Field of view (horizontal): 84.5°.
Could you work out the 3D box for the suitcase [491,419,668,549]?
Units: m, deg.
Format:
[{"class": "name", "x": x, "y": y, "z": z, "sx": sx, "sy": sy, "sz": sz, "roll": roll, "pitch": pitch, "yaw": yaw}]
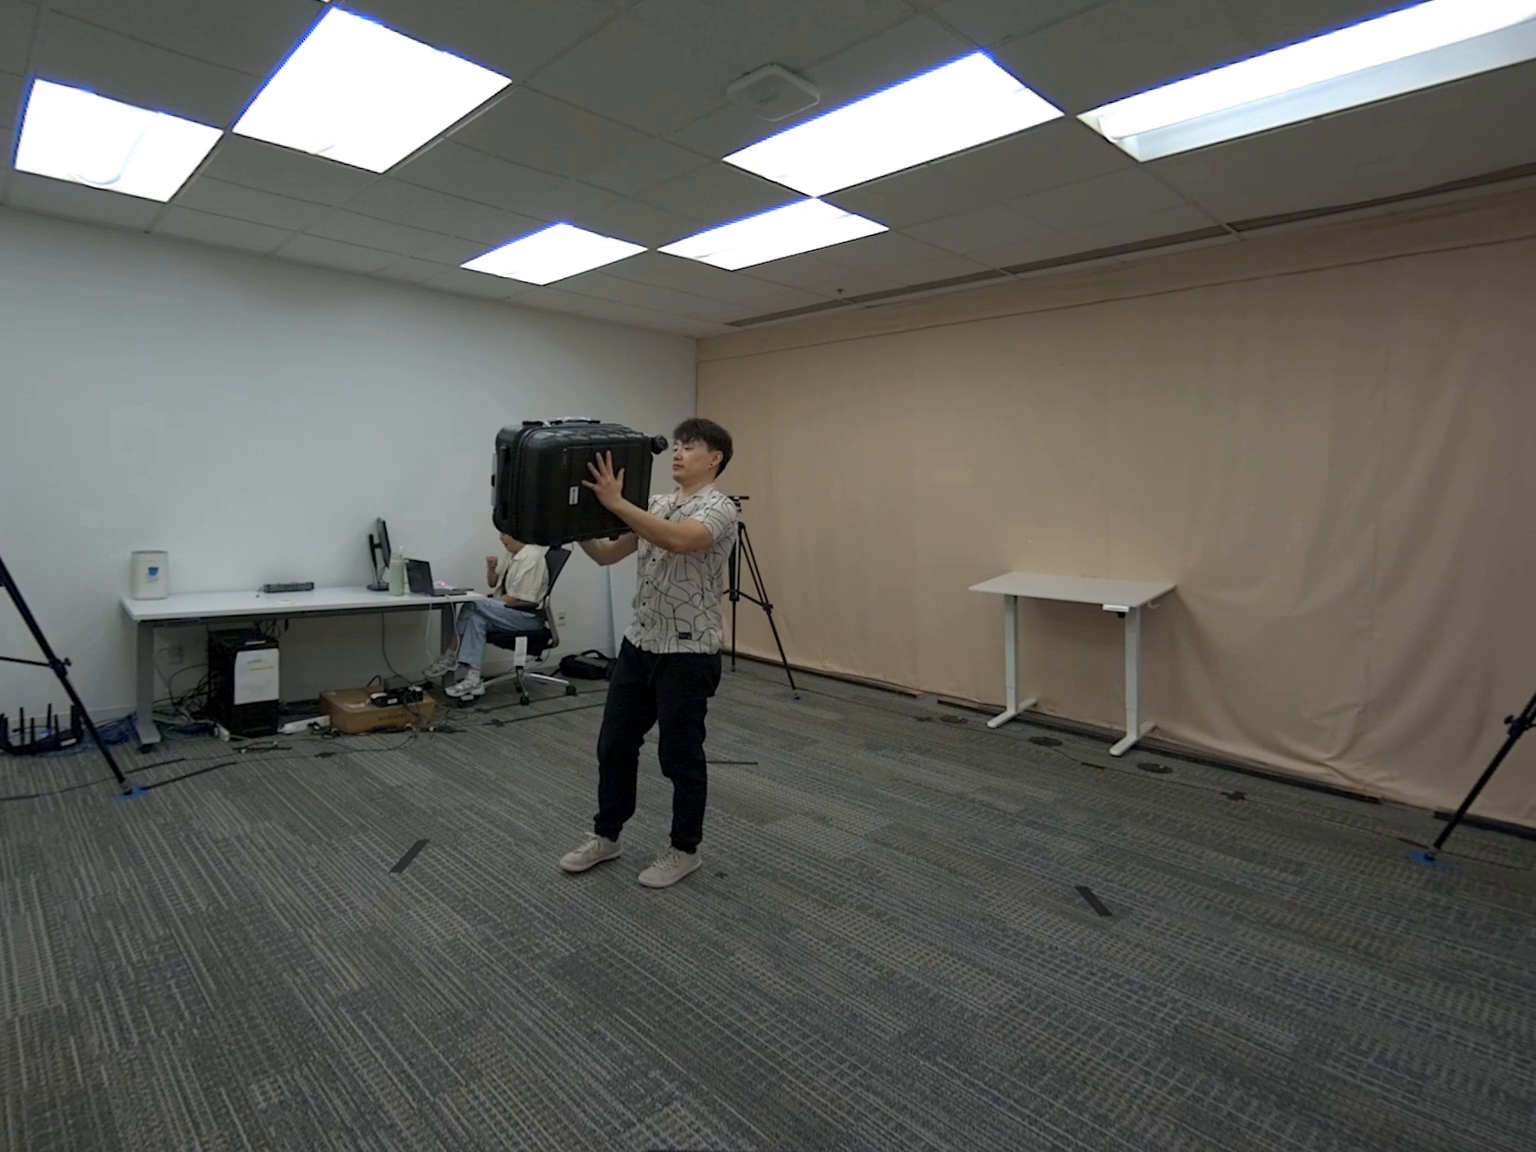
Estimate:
[{"class": "suitcase", "x": -0.614, "y": -0.304, "z": 2.679, "sx": 0.255, "sy": 0.372, "sz": 0.539, "roll": 17, "pitch": 16, "yaw": 31}]
